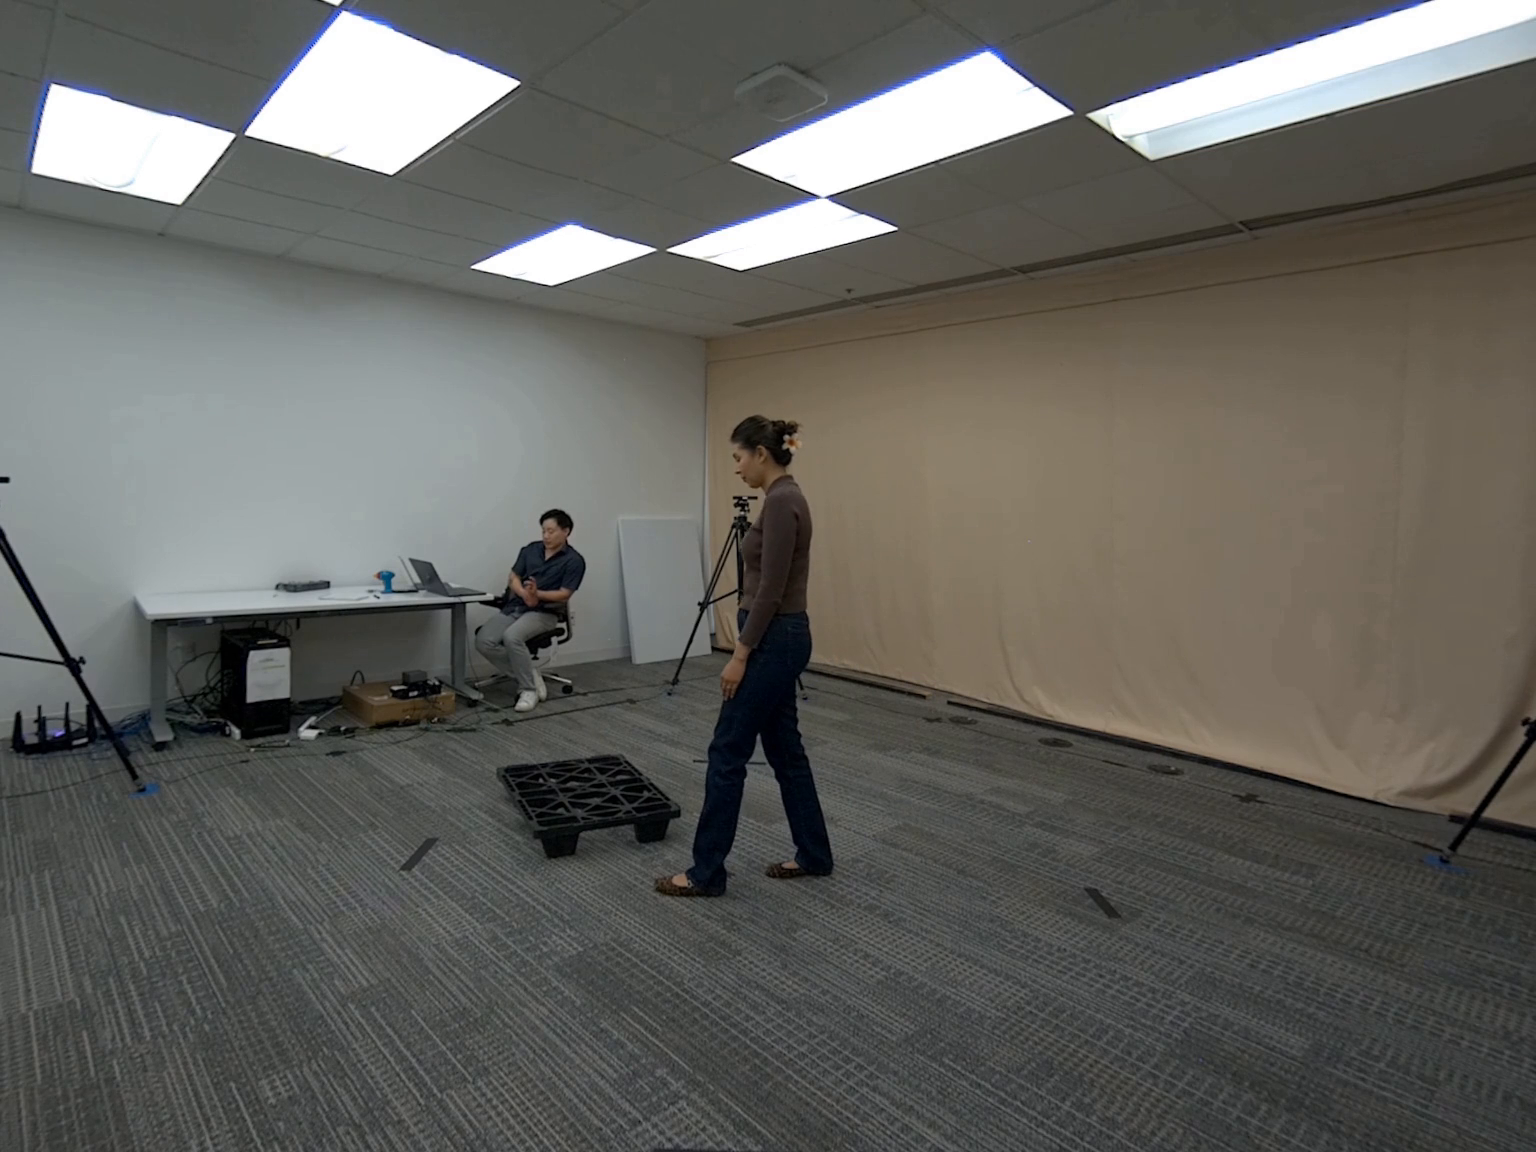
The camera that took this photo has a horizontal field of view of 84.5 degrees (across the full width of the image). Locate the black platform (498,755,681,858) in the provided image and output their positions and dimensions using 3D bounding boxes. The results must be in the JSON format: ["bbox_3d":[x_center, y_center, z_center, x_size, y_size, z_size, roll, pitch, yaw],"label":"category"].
[{"bbox_3d":[-0.807,0.975,3.622,0.594,0.143,0.823,-2,6,-27],"label":"black platform"}]
